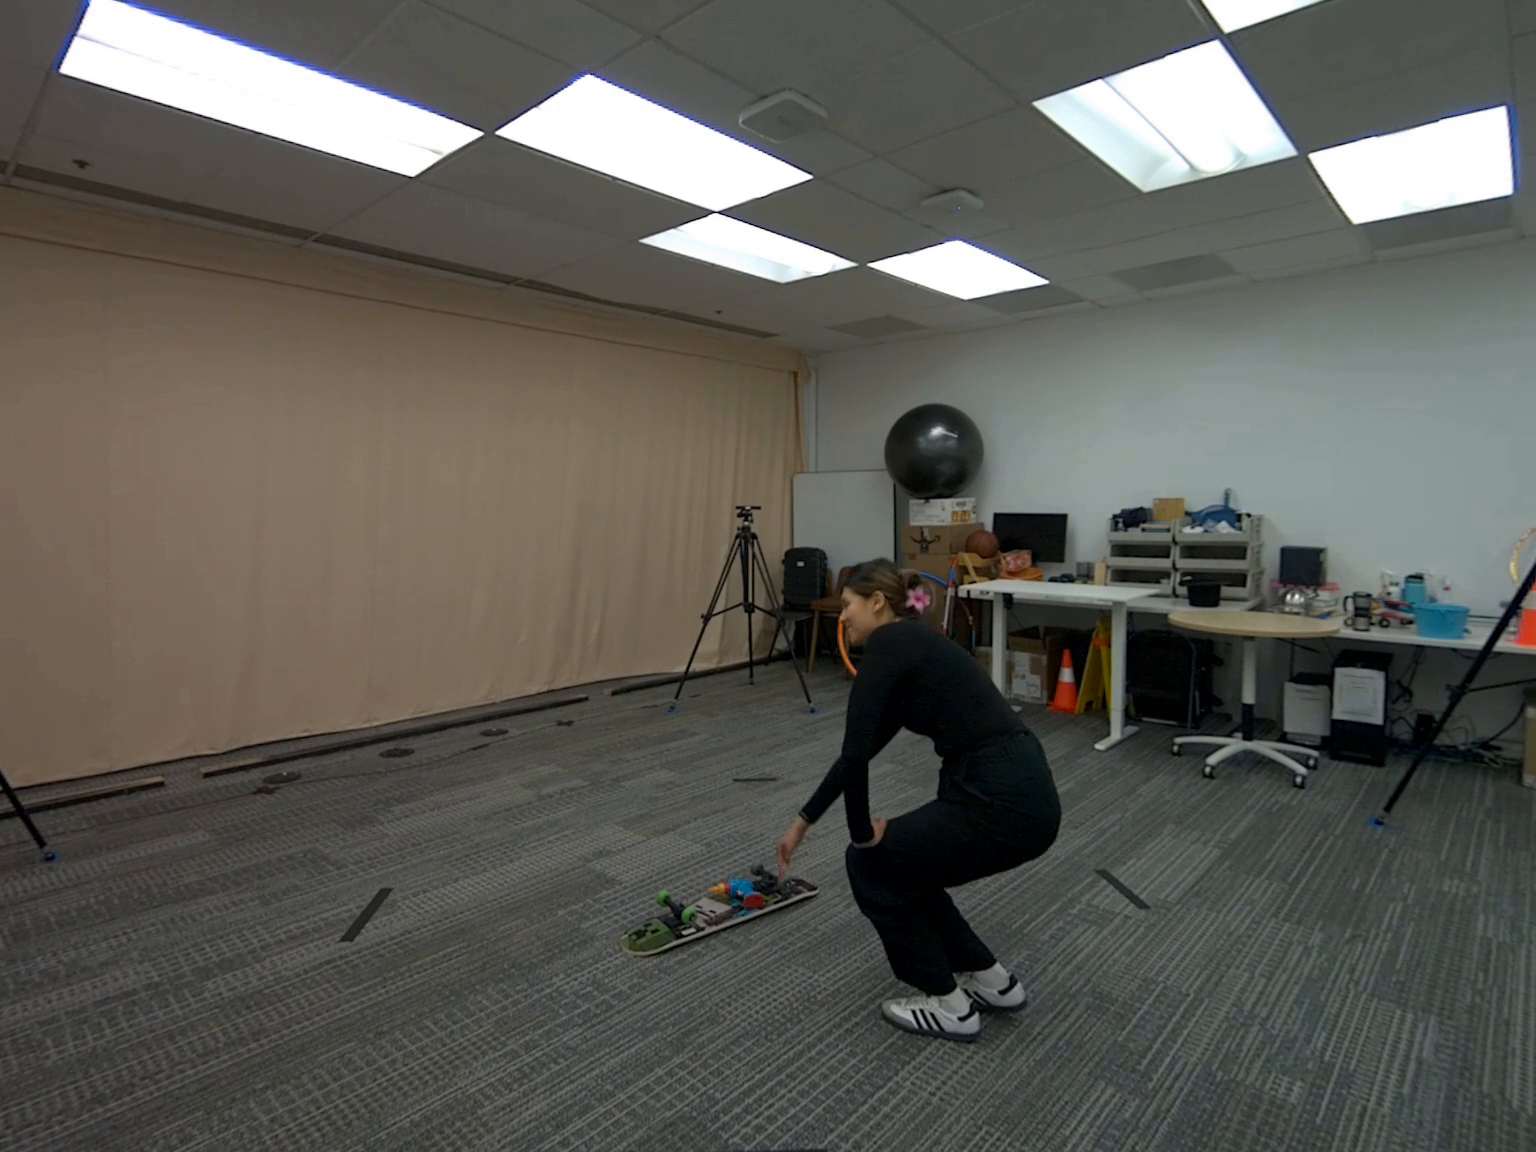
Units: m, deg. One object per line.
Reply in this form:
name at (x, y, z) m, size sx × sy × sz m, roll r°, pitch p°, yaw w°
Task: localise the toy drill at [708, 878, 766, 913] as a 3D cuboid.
toy drill at (-0.108, 1.089, 2.894) m, size 0.166 × 0.061 × 0.150 m, roll 5°, pitch 3°, yaw -24°
